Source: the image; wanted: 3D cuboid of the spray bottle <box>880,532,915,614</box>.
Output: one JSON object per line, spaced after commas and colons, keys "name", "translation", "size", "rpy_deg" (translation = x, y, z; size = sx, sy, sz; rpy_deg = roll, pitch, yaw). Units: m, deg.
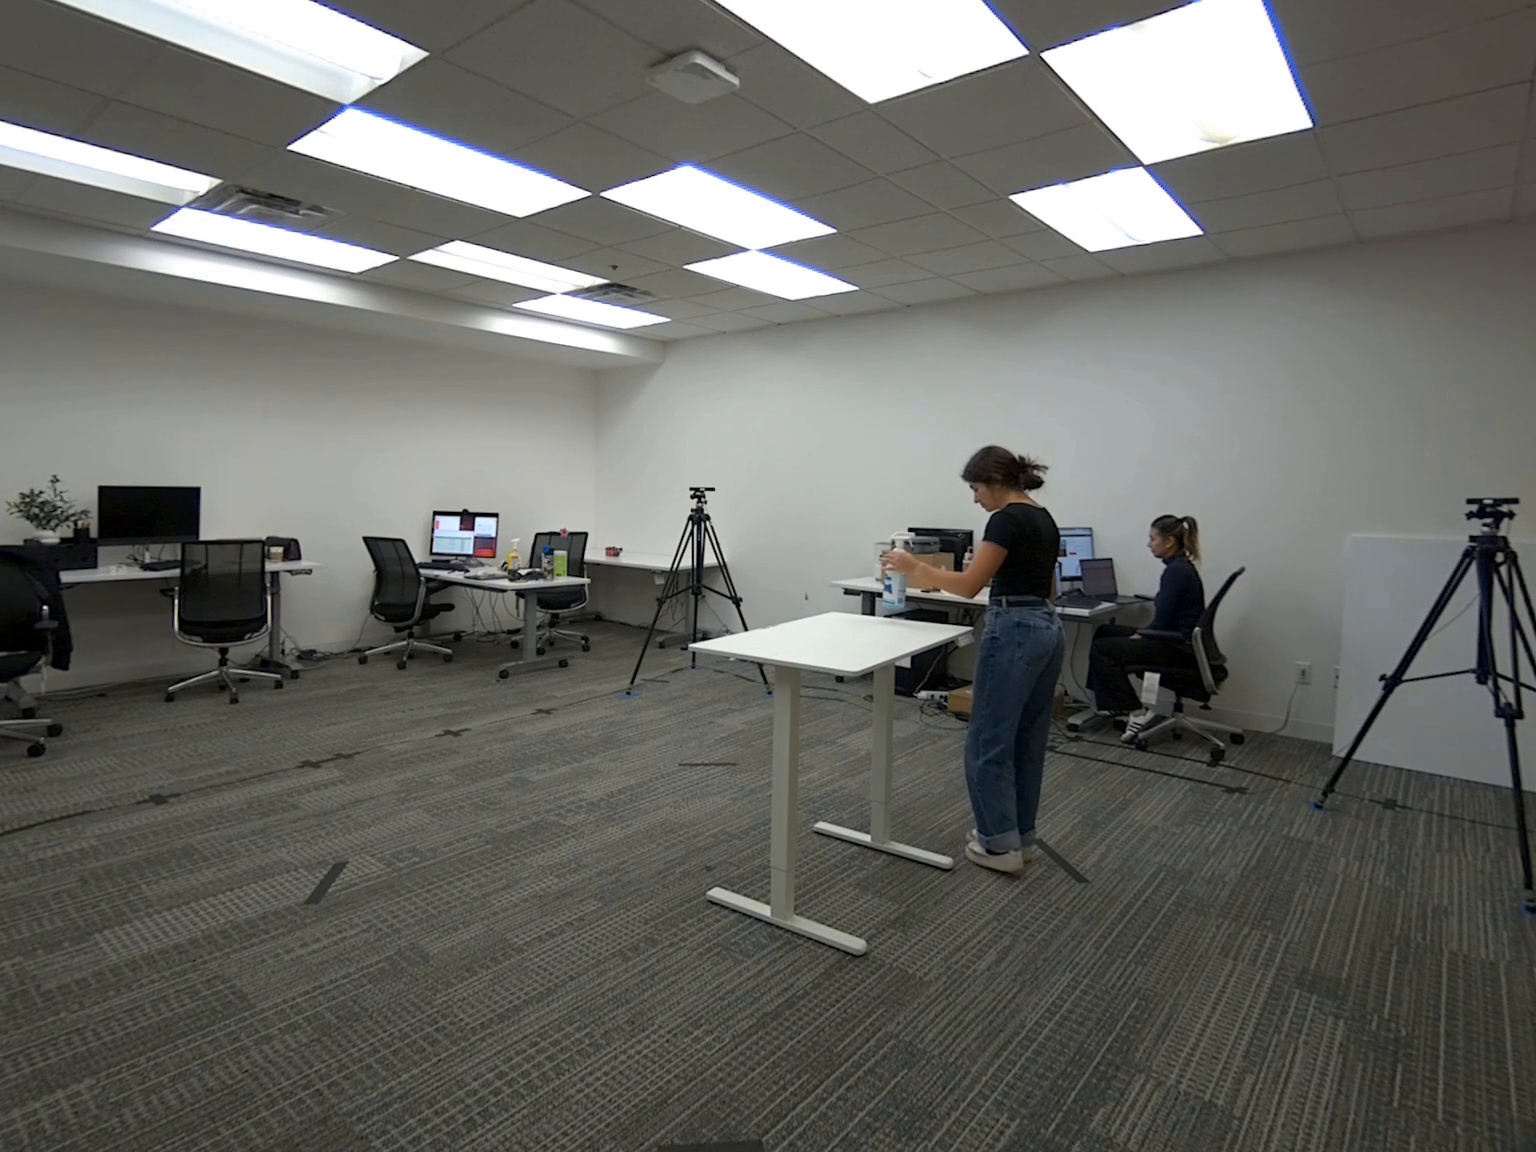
{"name": "spray bottle", "translation": [0.500, -0.024, 3.288], "size": [0.093, 0.296, 0.084], "rpy_deg": [10, 8, 32]}
